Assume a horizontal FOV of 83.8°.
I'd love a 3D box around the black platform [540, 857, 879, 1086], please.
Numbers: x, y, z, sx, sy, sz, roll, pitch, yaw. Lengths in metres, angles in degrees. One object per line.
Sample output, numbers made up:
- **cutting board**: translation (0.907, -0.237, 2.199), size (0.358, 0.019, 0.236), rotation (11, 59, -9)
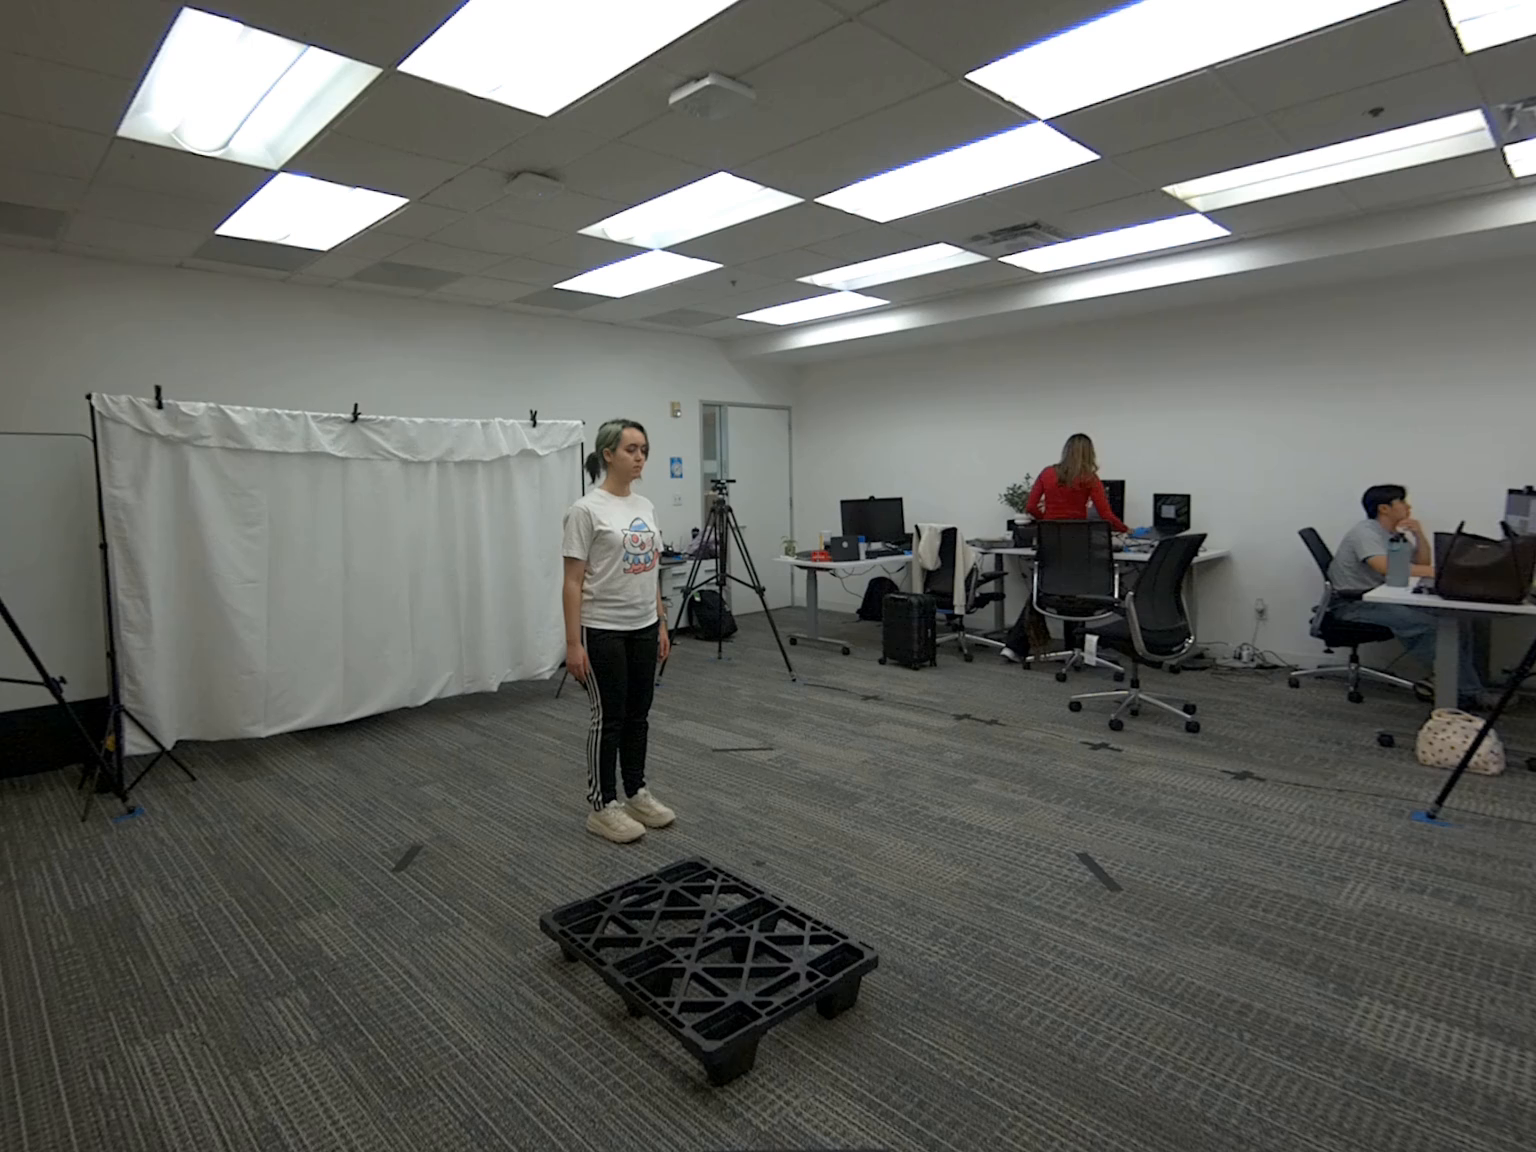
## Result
- **black platform**: translation (-0.186, 1.067, 2.397), size (0.589, 0.142, 0.831), rotation (-7, 9, -41)
